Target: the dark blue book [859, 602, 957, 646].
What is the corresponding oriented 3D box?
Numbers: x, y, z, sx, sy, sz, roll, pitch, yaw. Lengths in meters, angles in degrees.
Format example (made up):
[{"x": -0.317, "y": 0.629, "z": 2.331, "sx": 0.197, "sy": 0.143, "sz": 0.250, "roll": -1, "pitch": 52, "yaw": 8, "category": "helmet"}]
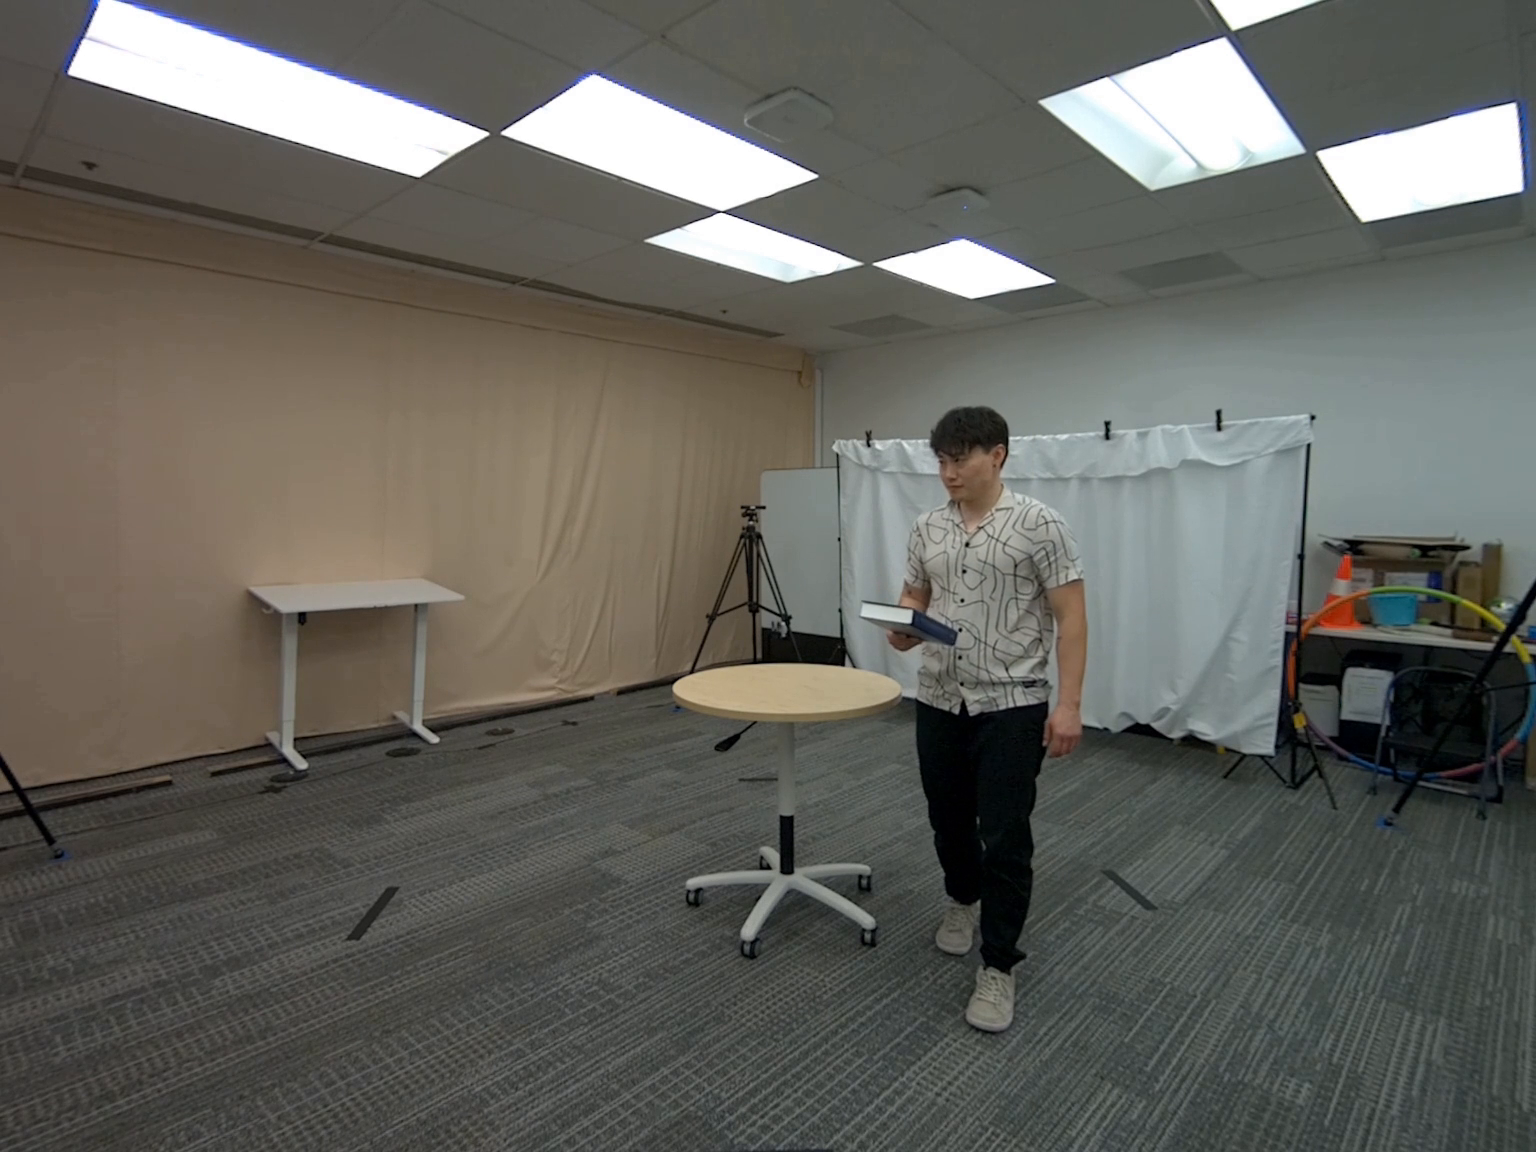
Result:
[{"x": 0.374, "y": 0.130, "z": 2.245, "sx": 0.169, "sy": 0.045, "sz": 0.236, "roll": 6, "pitch": -13, "yaw": 43, "category": "dark blue book"}]
